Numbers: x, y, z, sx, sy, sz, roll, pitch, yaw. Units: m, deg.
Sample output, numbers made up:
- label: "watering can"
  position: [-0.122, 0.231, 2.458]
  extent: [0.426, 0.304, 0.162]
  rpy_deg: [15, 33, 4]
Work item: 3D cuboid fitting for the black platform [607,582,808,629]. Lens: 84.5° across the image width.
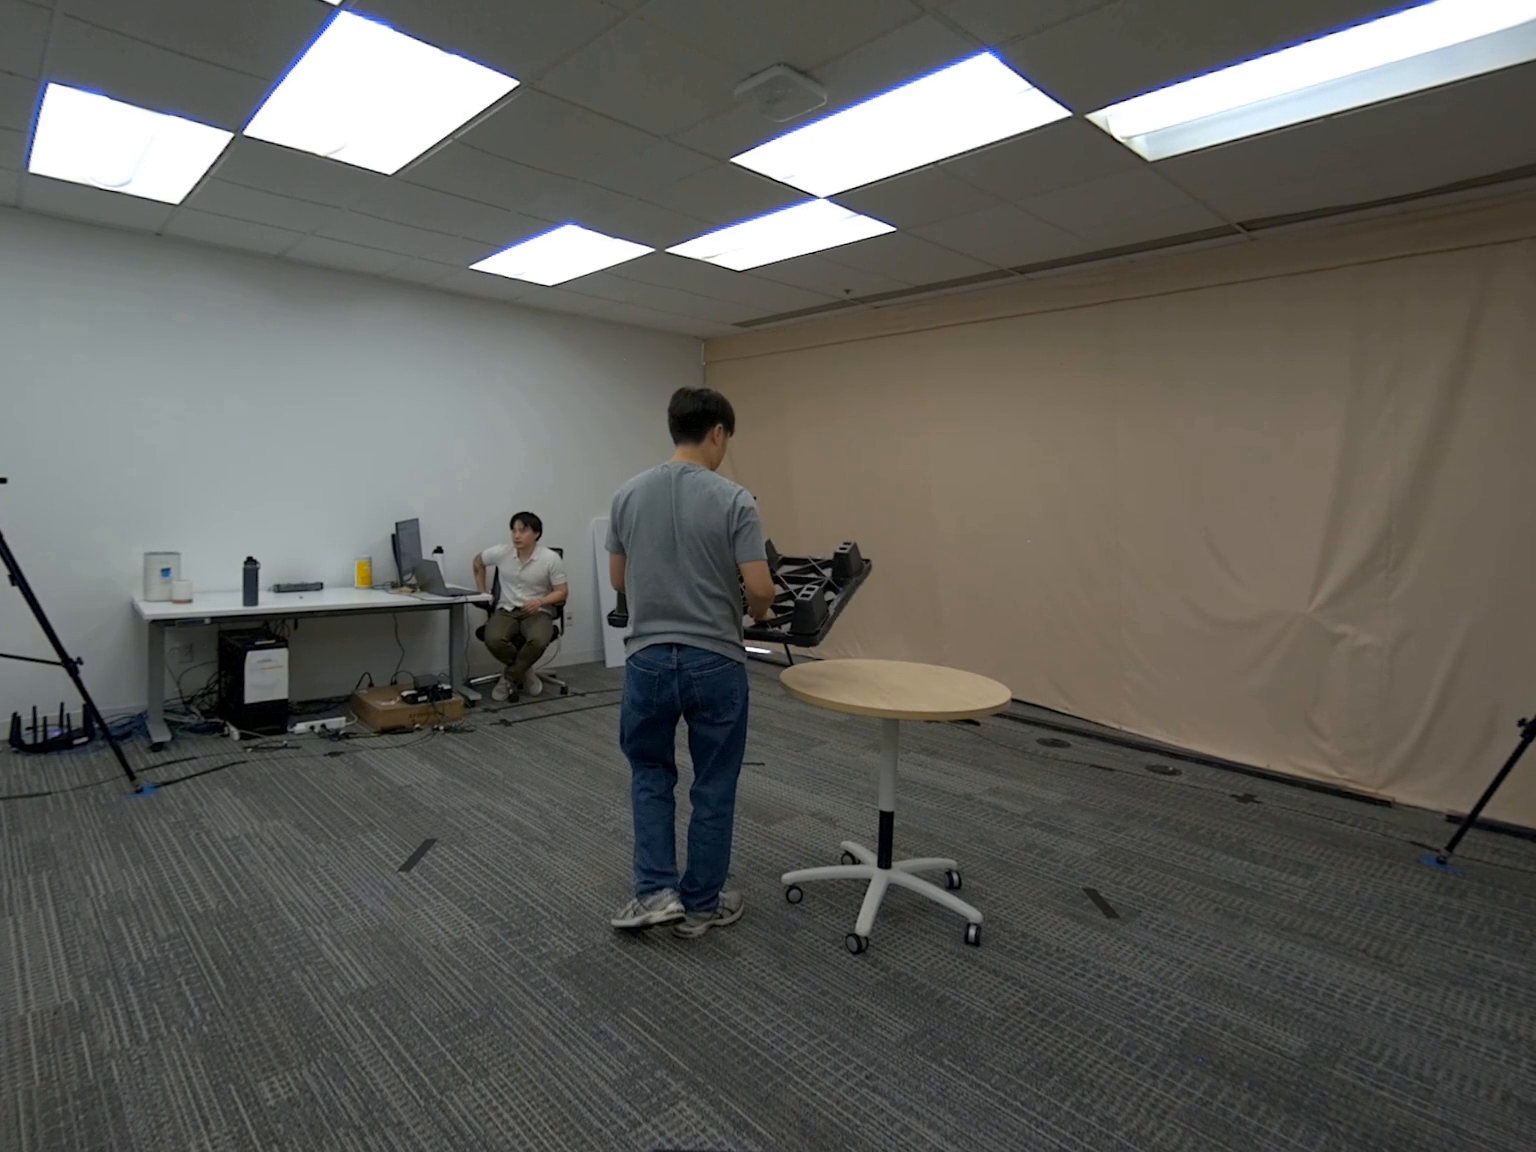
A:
- label: "black platform"
  position: [-0.111, 0.020, 3.010]
  extent: [0.822, 0.141, 0.604]
  rpy_deg: [4, 26, 26]
